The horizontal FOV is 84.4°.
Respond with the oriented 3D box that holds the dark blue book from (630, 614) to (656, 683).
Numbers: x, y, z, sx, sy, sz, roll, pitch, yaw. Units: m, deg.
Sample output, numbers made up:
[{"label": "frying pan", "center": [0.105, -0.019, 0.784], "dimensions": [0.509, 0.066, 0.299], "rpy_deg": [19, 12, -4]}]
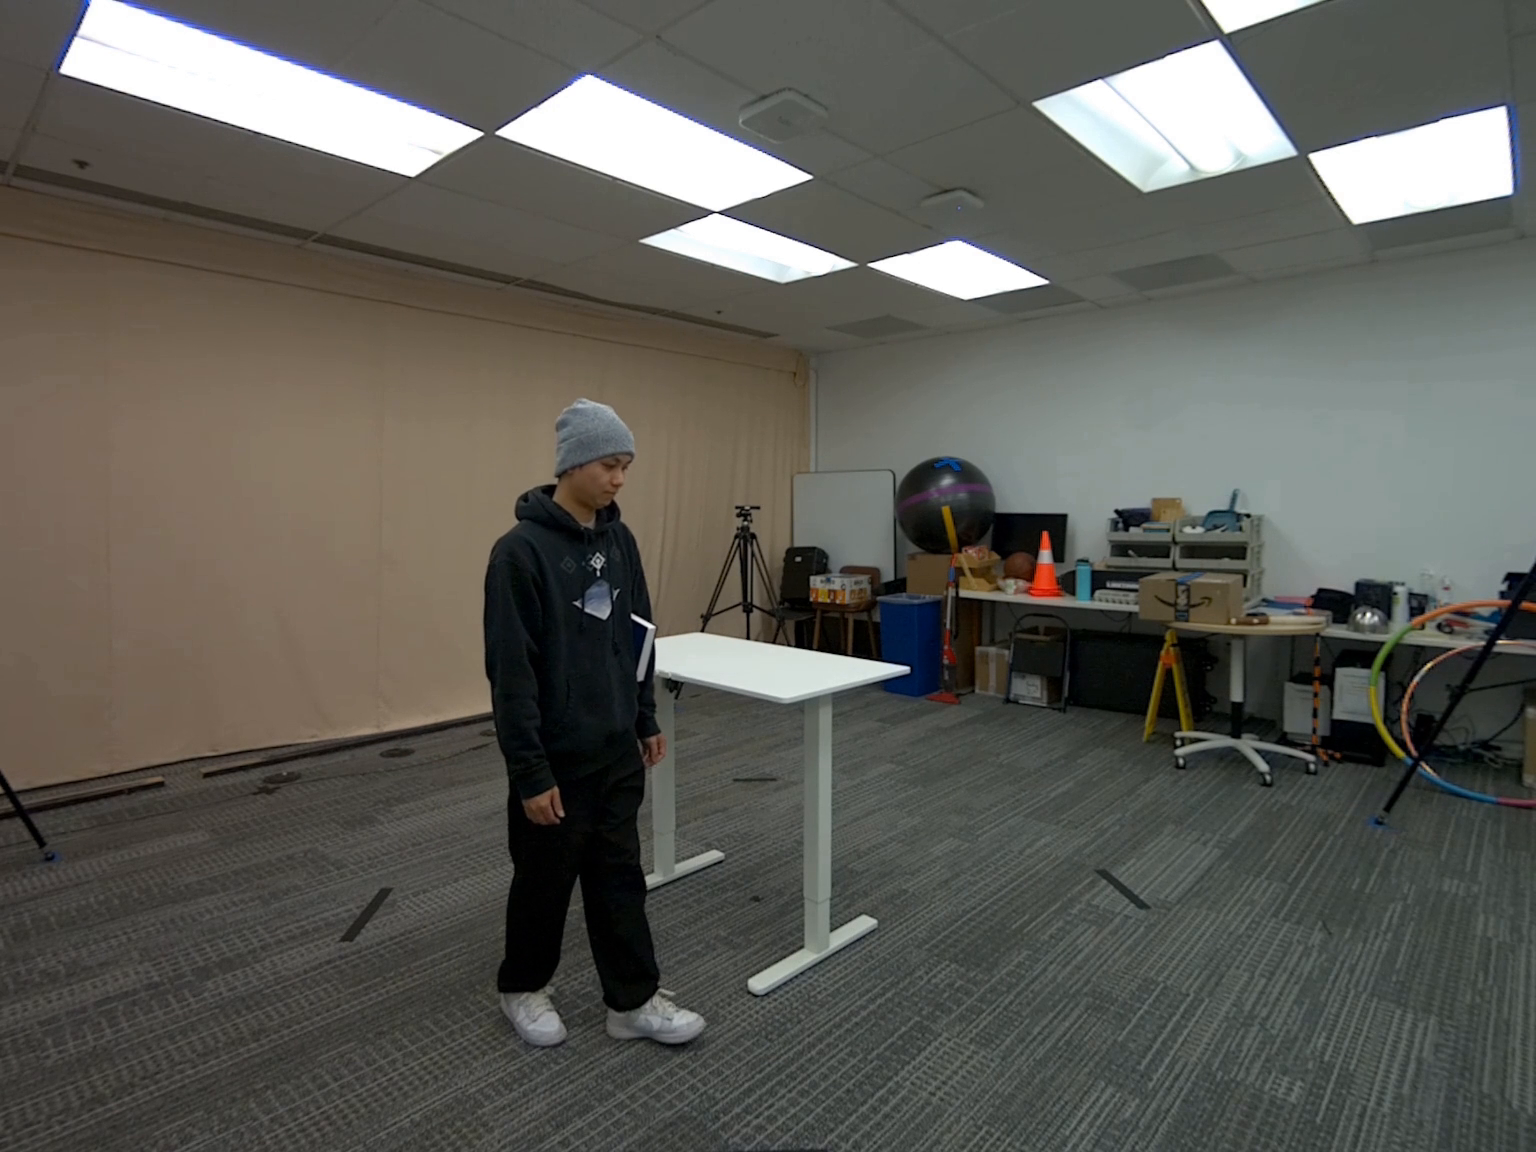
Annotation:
[{"label": "dark blue book", "center": [-0.413, 0.166, 2.314], "dimensions": [0.254, 0.163, 0.044], "rpy_deg": [24, 15, 35]}]
